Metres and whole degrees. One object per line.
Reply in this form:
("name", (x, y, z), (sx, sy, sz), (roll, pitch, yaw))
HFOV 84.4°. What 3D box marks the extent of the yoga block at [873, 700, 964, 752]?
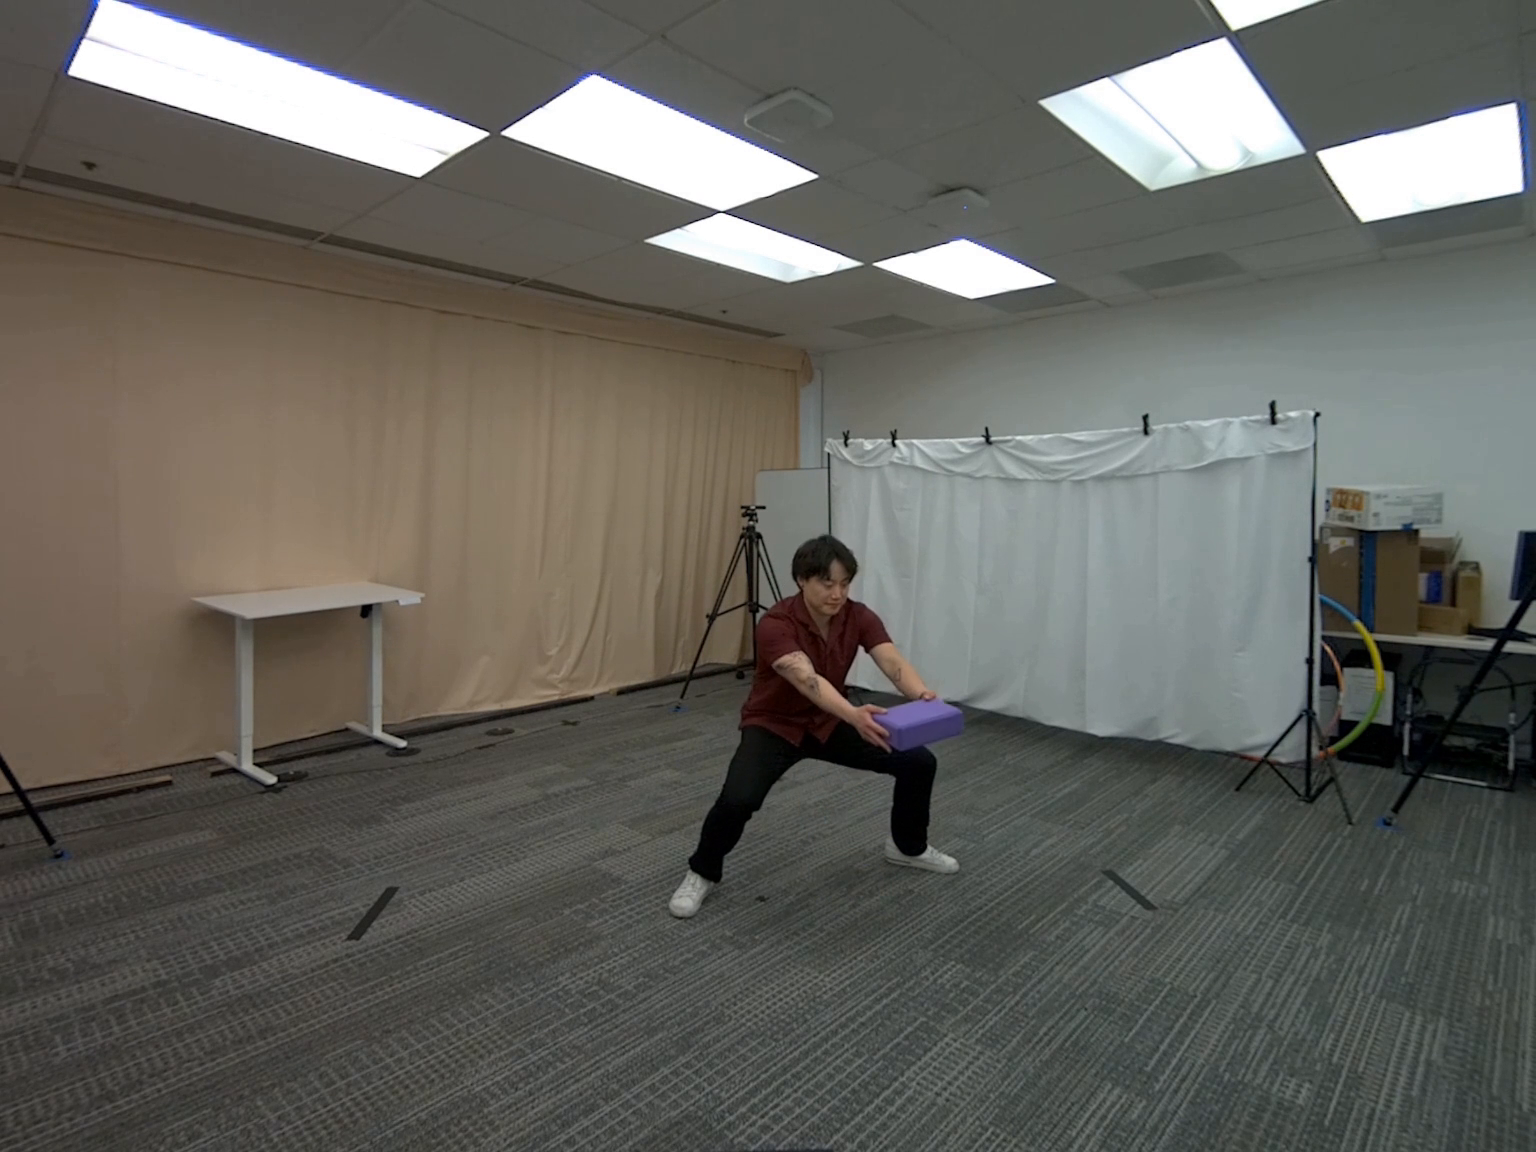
("yoga block", (0.443, 0.456, 2.482), (0.224, 0.076, 0.153), (-10, 12, -26))
